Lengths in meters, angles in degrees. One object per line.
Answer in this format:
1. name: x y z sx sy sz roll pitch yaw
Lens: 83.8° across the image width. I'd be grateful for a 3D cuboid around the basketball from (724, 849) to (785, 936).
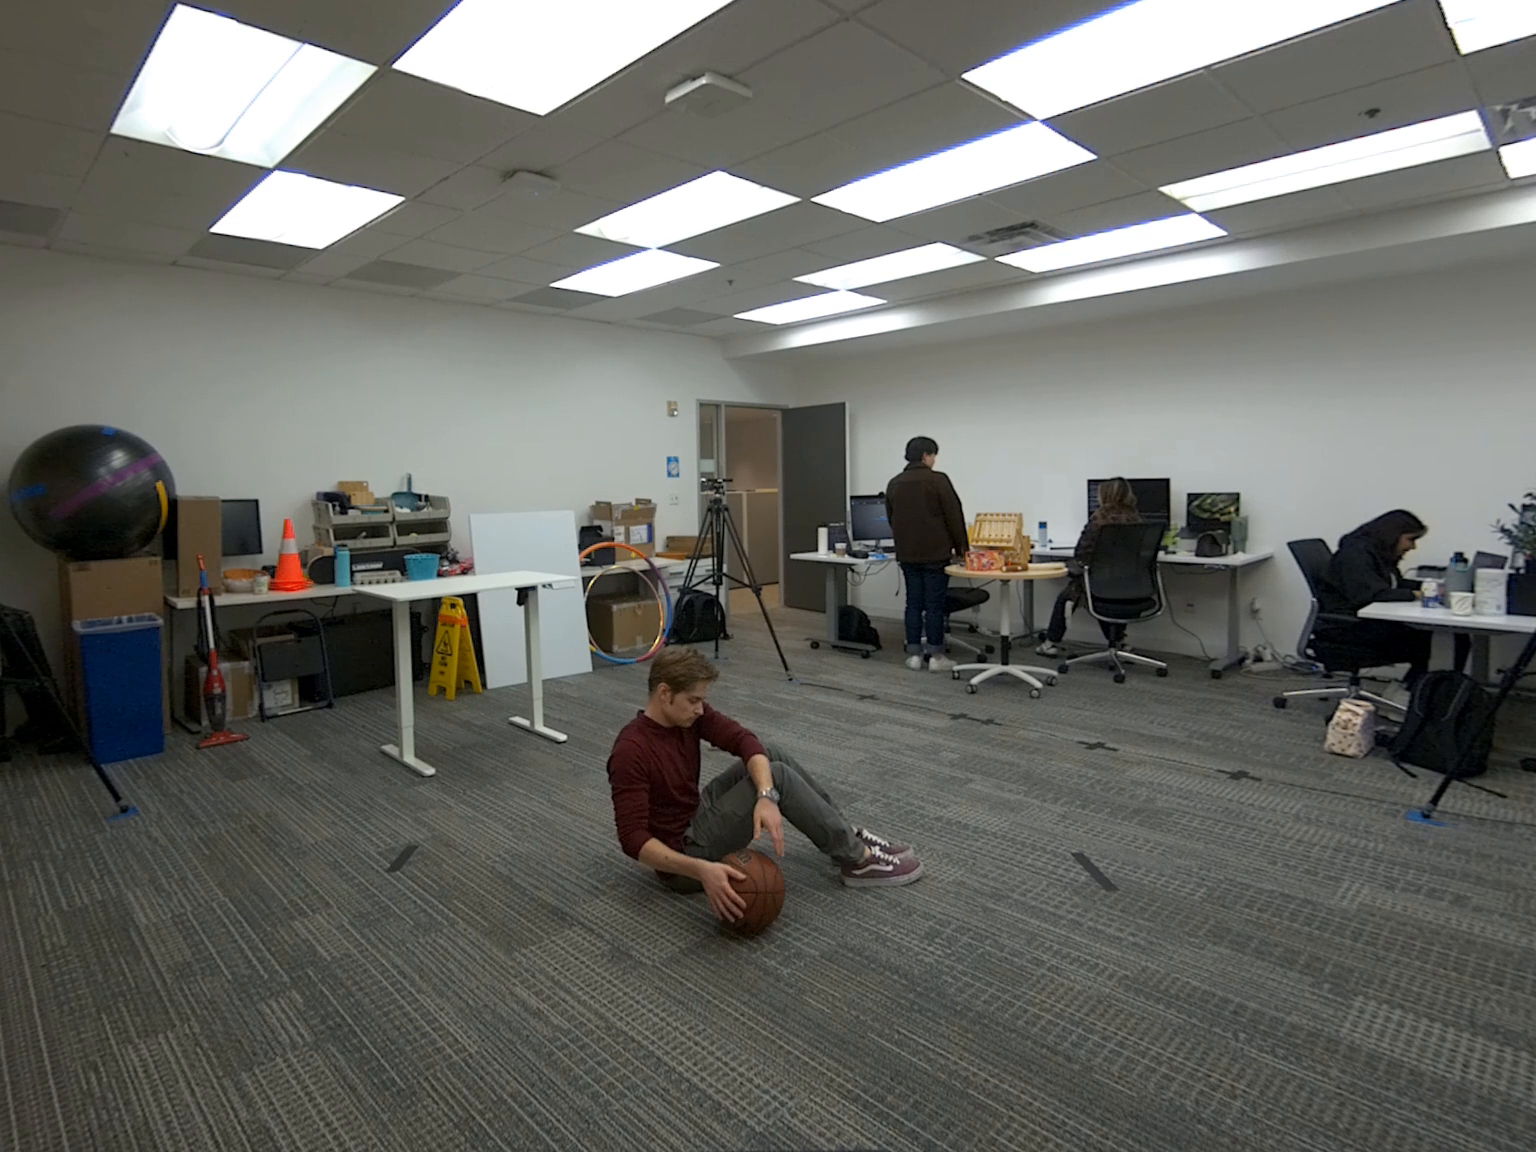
1. basketball: -0.065 0.973 2.668 0.236 0.235 0.237 -1 5 -2
